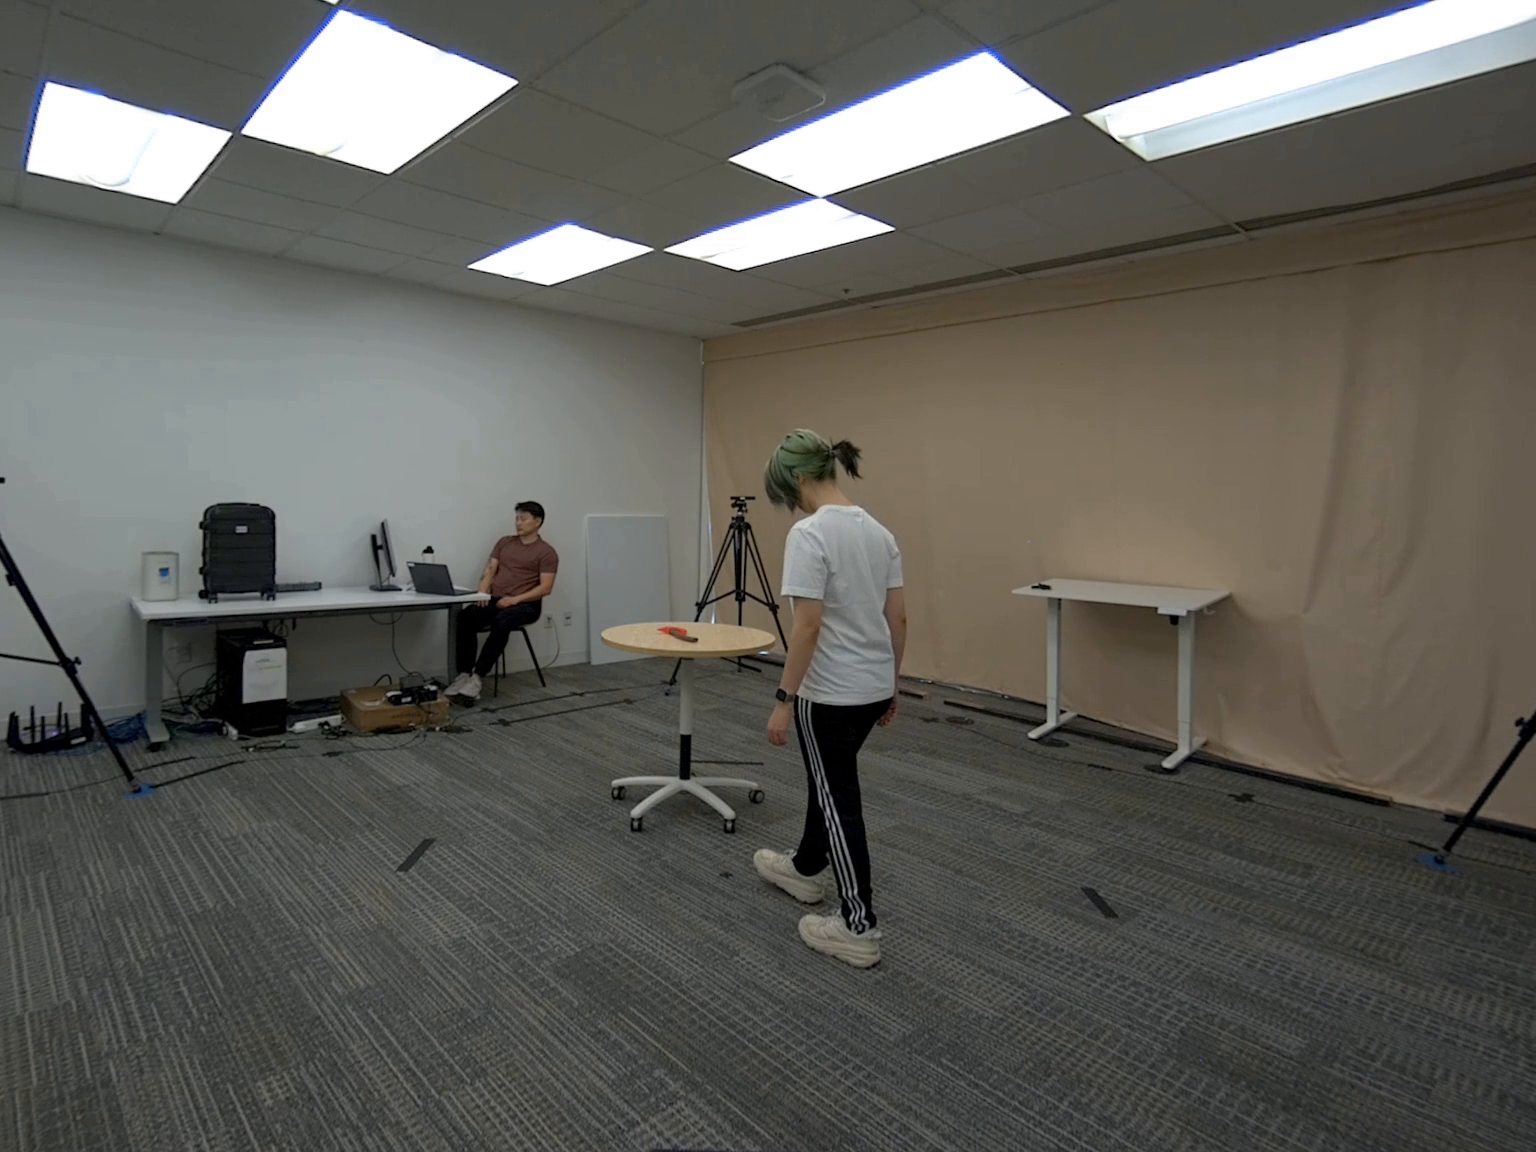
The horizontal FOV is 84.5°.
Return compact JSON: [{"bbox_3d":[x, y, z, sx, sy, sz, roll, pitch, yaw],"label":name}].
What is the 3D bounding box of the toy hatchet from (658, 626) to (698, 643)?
[{"bbox_3d":[-0.364,0.252,3.647,0.128,0.029,0.277,4,4,-38],"label":"toy hatchet"}]
